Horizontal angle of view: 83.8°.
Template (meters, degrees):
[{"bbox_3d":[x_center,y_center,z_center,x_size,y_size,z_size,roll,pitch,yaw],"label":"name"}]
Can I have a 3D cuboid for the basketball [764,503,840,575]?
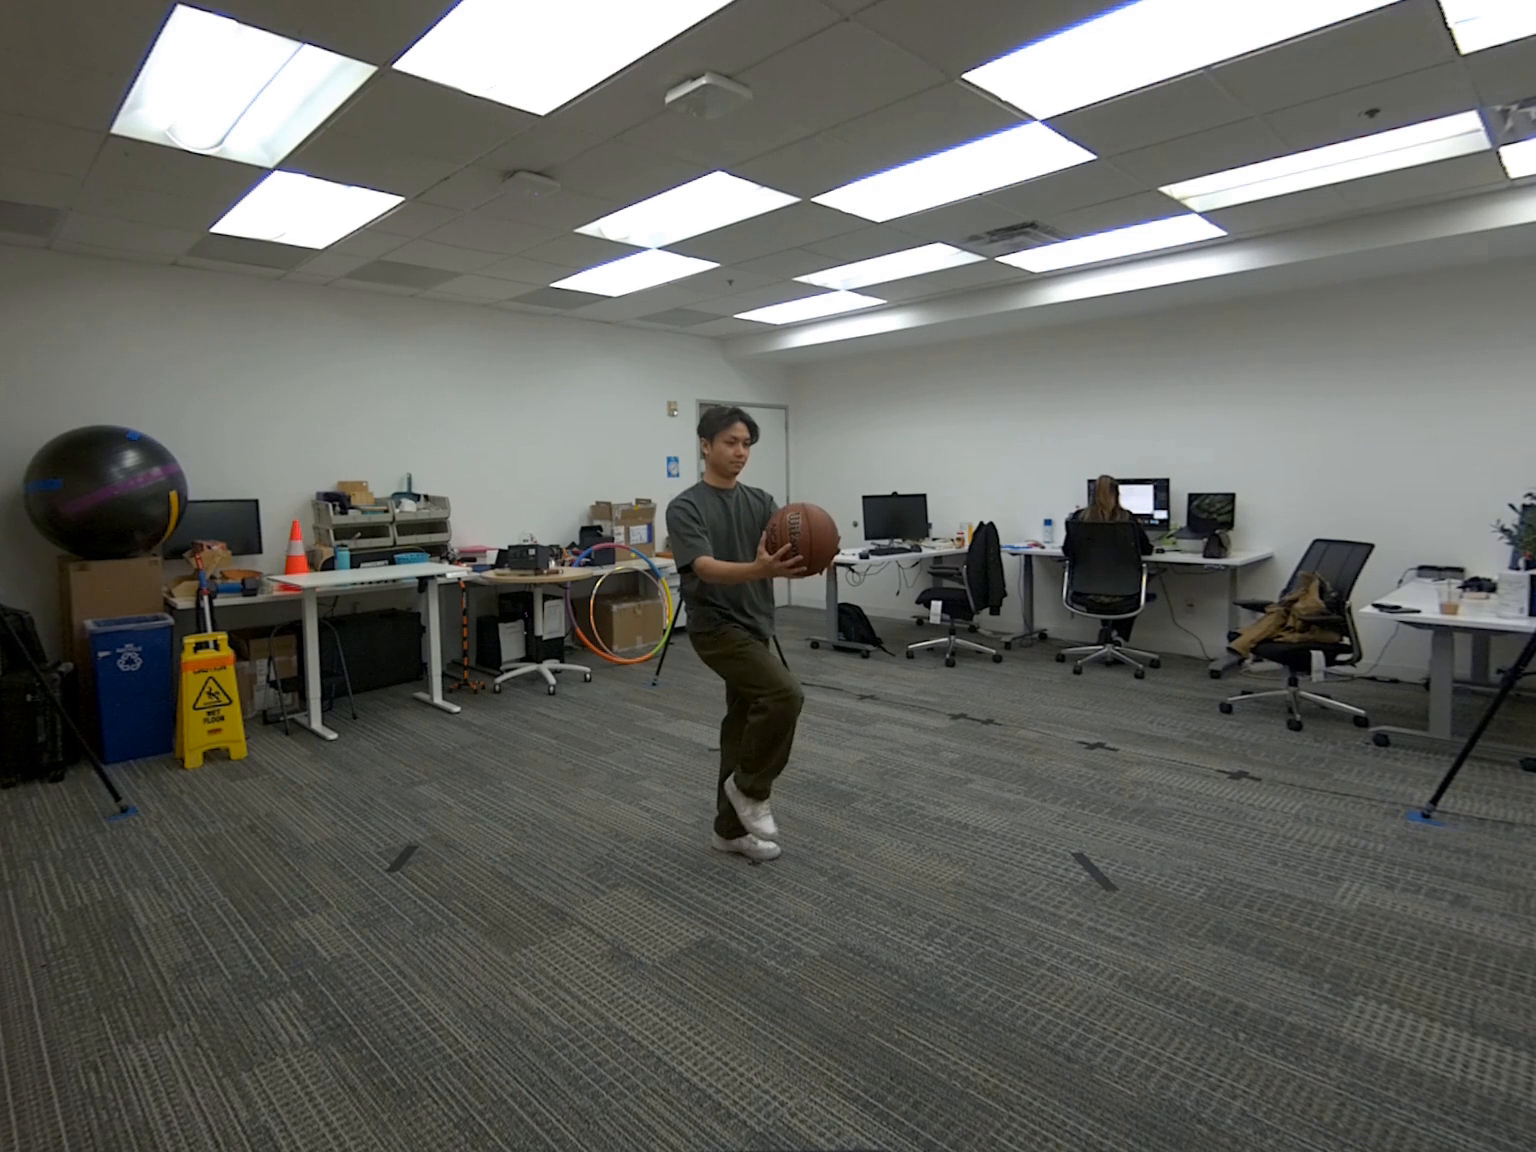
[{"bbox_3d":[0.107,-0.119,2.733,0.236,0.235,0.237,-1,5,-2],"label":"basketball"}]
